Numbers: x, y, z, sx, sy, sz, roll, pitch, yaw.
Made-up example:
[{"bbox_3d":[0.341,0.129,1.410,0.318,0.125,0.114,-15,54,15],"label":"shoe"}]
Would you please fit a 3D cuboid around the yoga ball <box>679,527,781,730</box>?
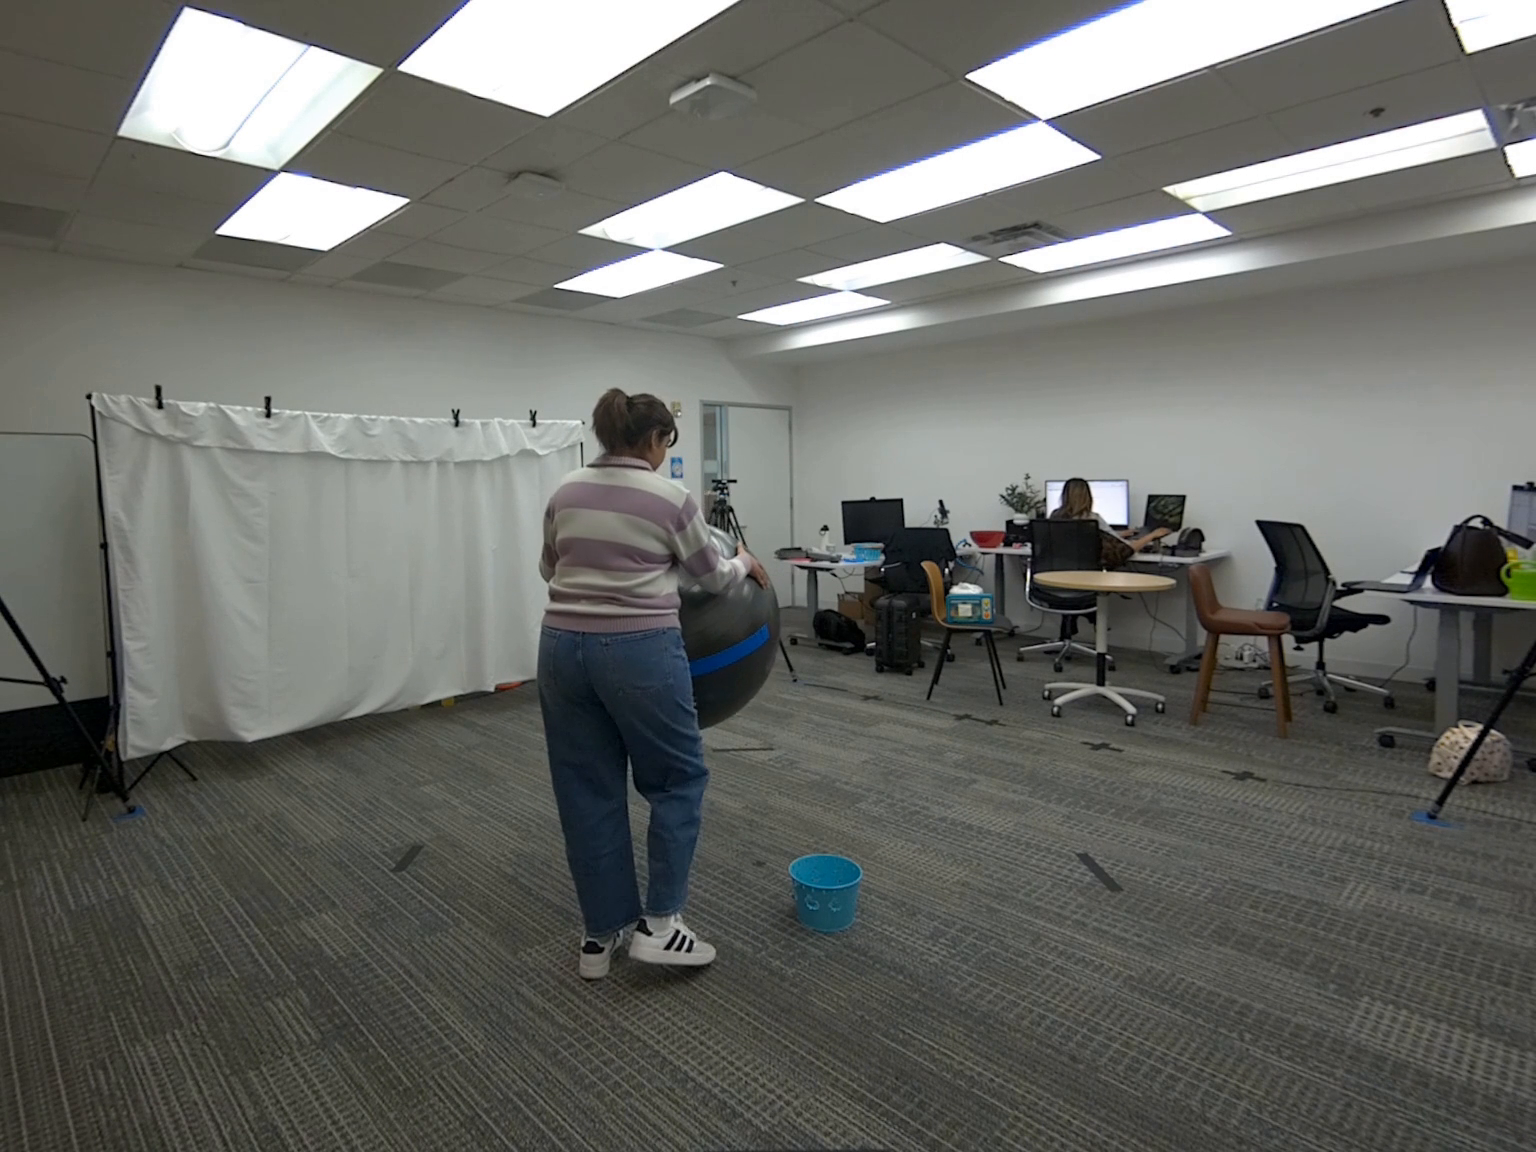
[{"bbox_3d":[-0.327,0.181,3.054,0.757,0.755,0.762,-1,5,-2],"label":"yoga ball"}]
